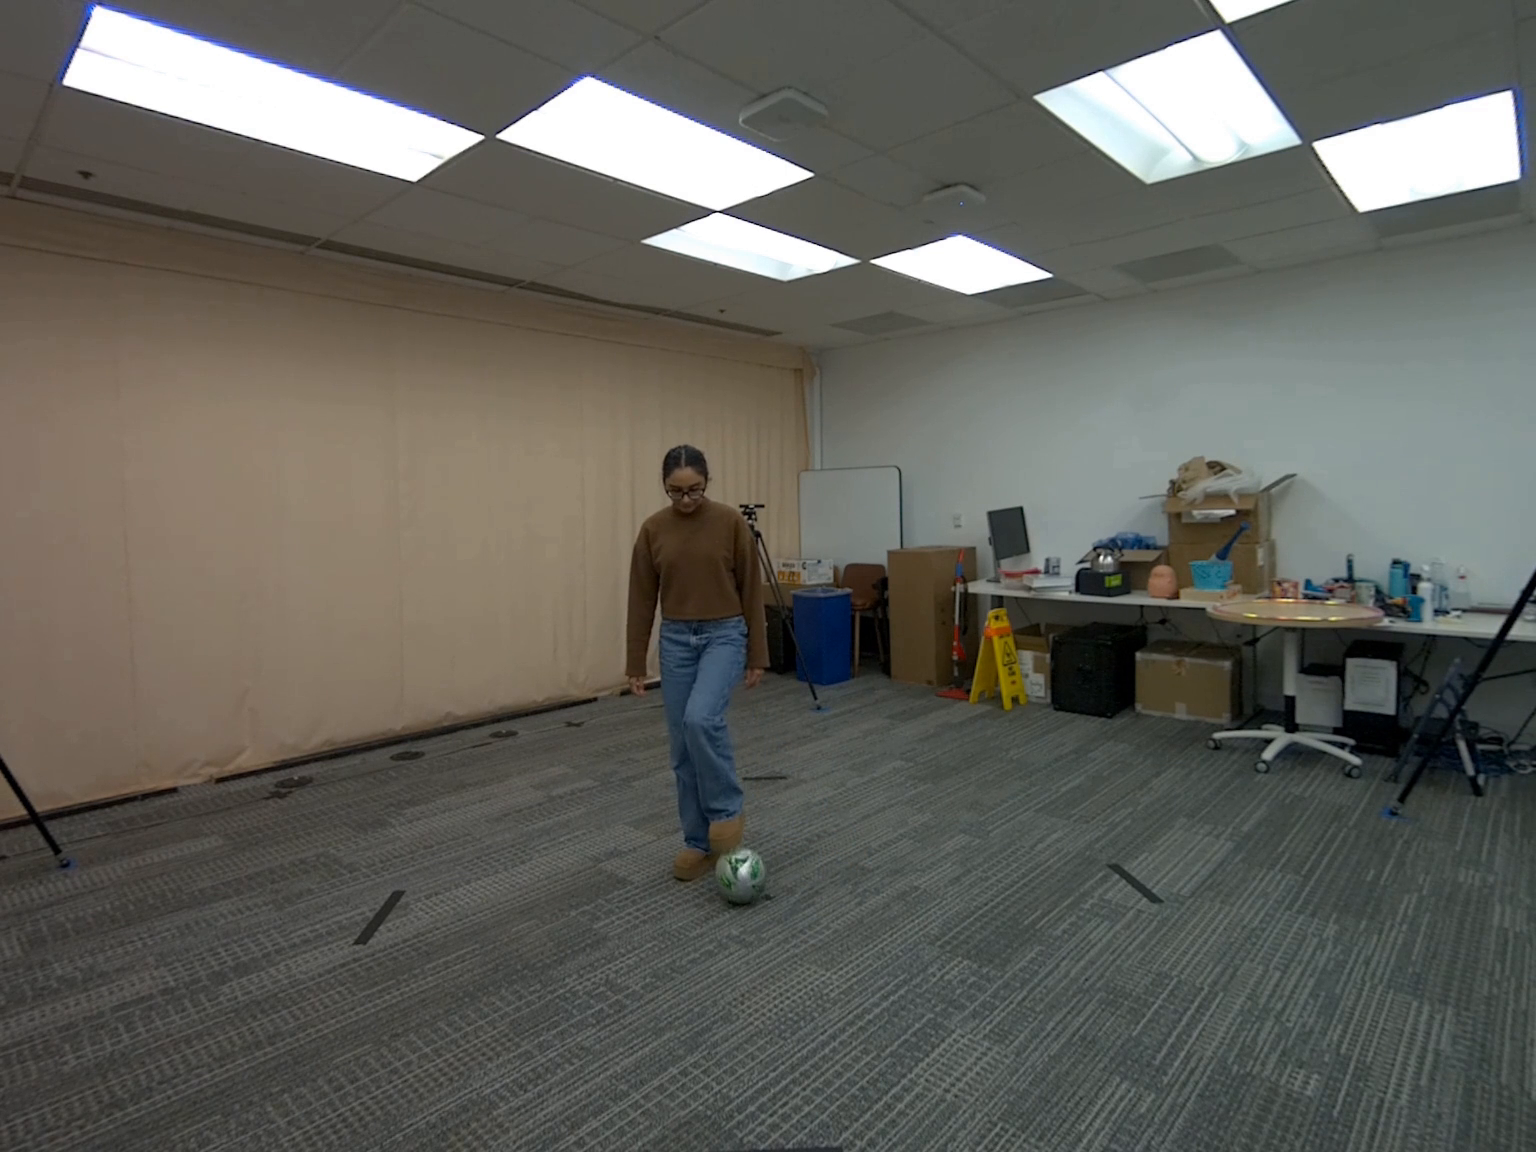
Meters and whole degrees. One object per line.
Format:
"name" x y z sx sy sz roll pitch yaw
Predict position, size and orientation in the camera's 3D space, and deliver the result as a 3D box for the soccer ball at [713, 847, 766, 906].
"soccer ball" -0.089 1.050 2.948 0.187 0.187 0.188 -1 4 -2
